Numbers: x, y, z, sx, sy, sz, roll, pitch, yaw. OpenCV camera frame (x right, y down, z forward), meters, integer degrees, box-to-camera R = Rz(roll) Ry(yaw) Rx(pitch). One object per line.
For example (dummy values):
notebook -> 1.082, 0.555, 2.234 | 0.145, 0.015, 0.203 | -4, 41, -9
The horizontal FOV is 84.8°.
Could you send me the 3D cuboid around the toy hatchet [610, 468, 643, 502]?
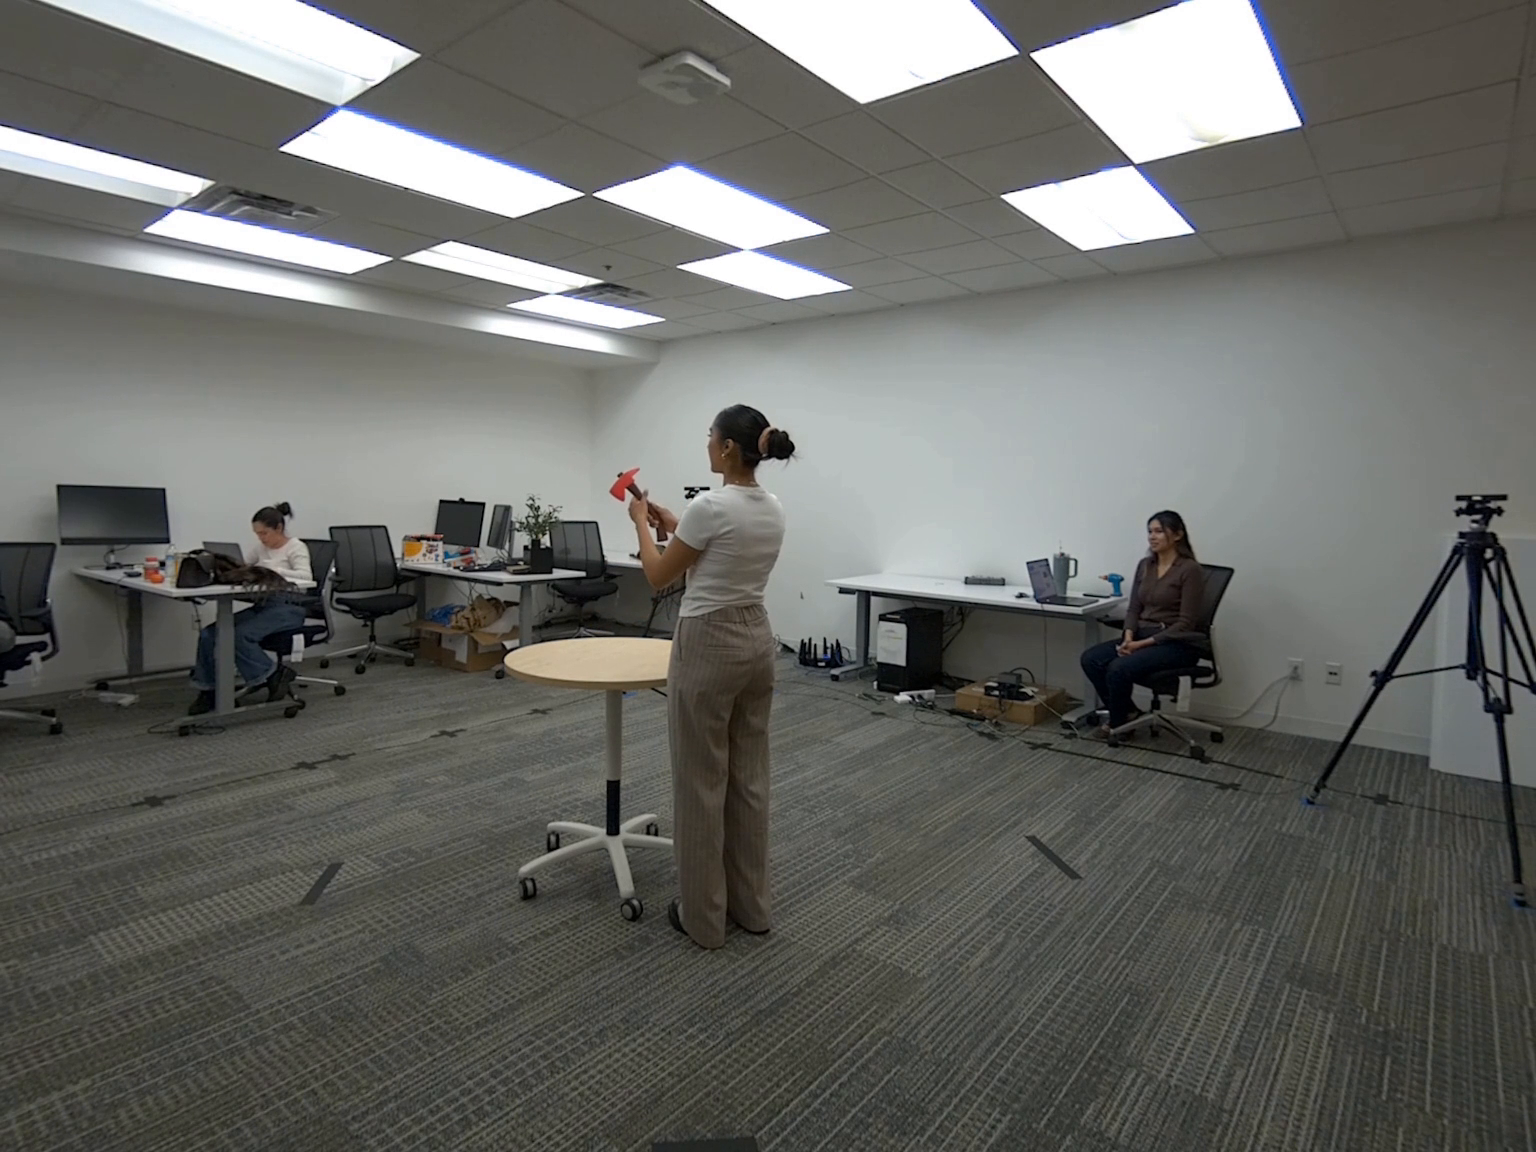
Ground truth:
toy hatchet -> -0.442, -0.232, 2.844 | 0.130, 0.272, 0.029 | -22, -7, -12
